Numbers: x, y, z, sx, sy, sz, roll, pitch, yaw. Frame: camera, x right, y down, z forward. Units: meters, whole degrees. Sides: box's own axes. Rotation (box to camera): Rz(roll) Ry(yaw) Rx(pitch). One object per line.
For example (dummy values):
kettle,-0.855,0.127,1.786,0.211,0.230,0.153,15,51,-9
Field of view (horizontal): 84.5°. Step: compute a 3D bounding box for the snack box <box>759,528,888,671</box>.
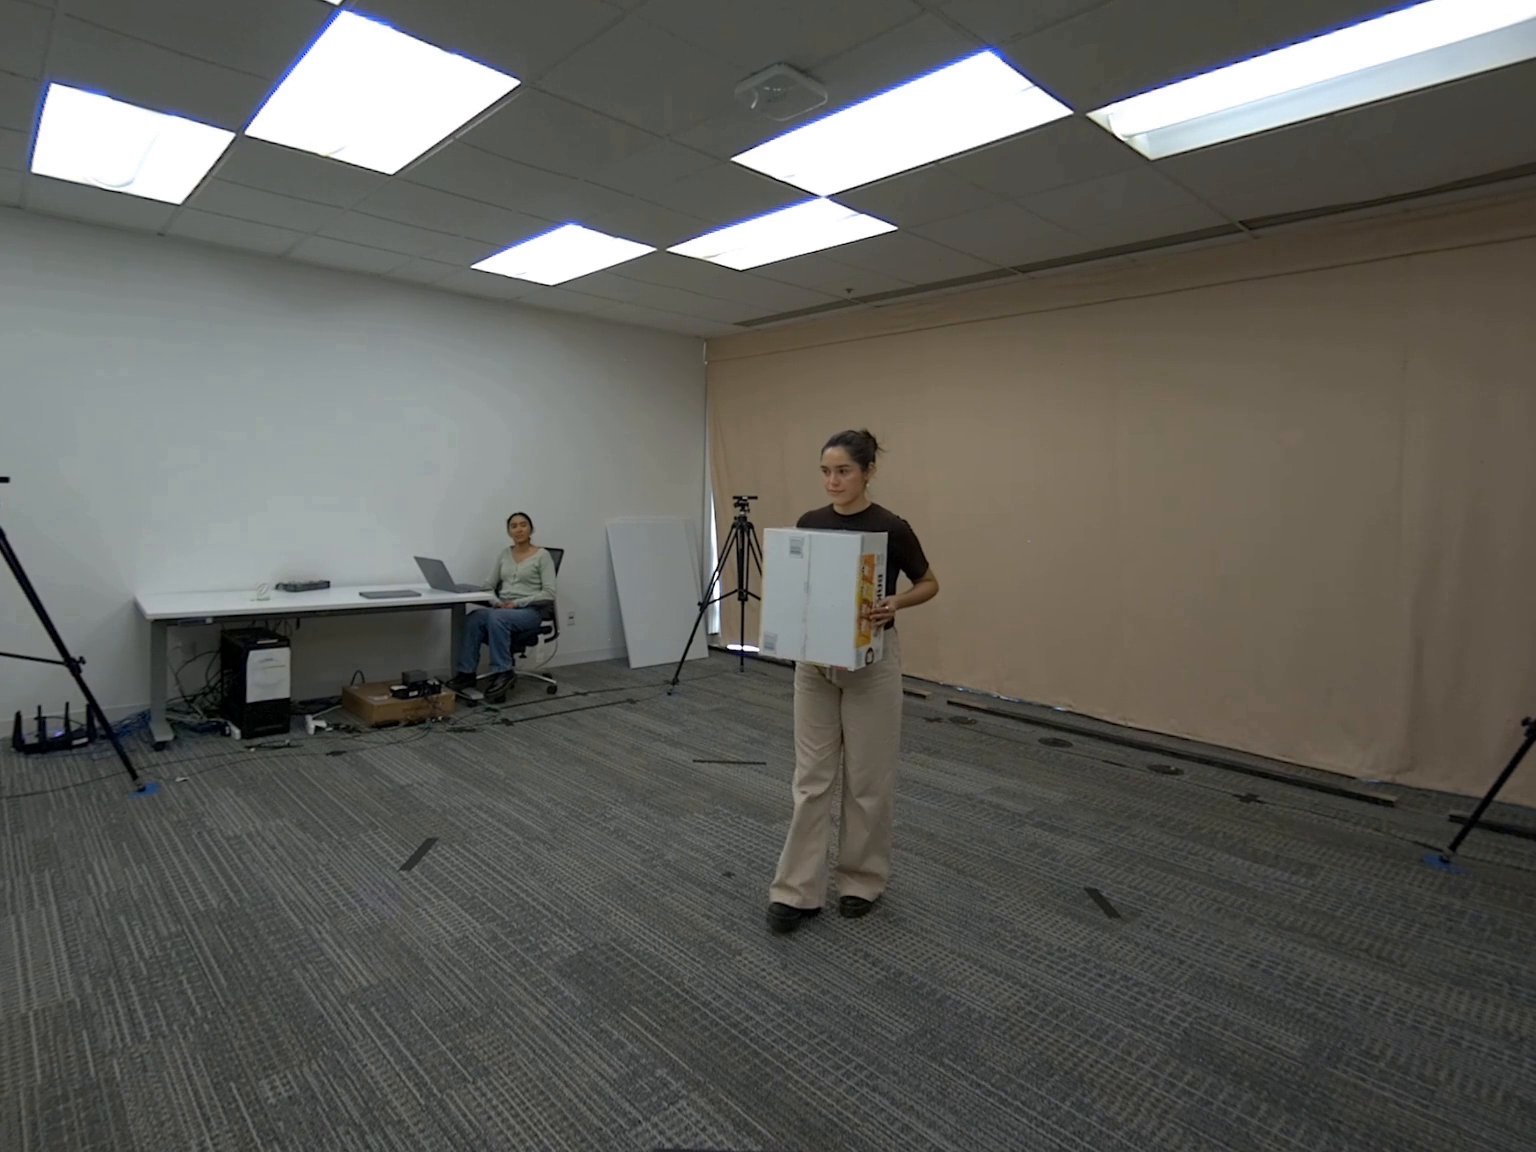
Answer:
snack box,0.160,0.060,2.649,0.348,0.404,0.202,4,5,31
